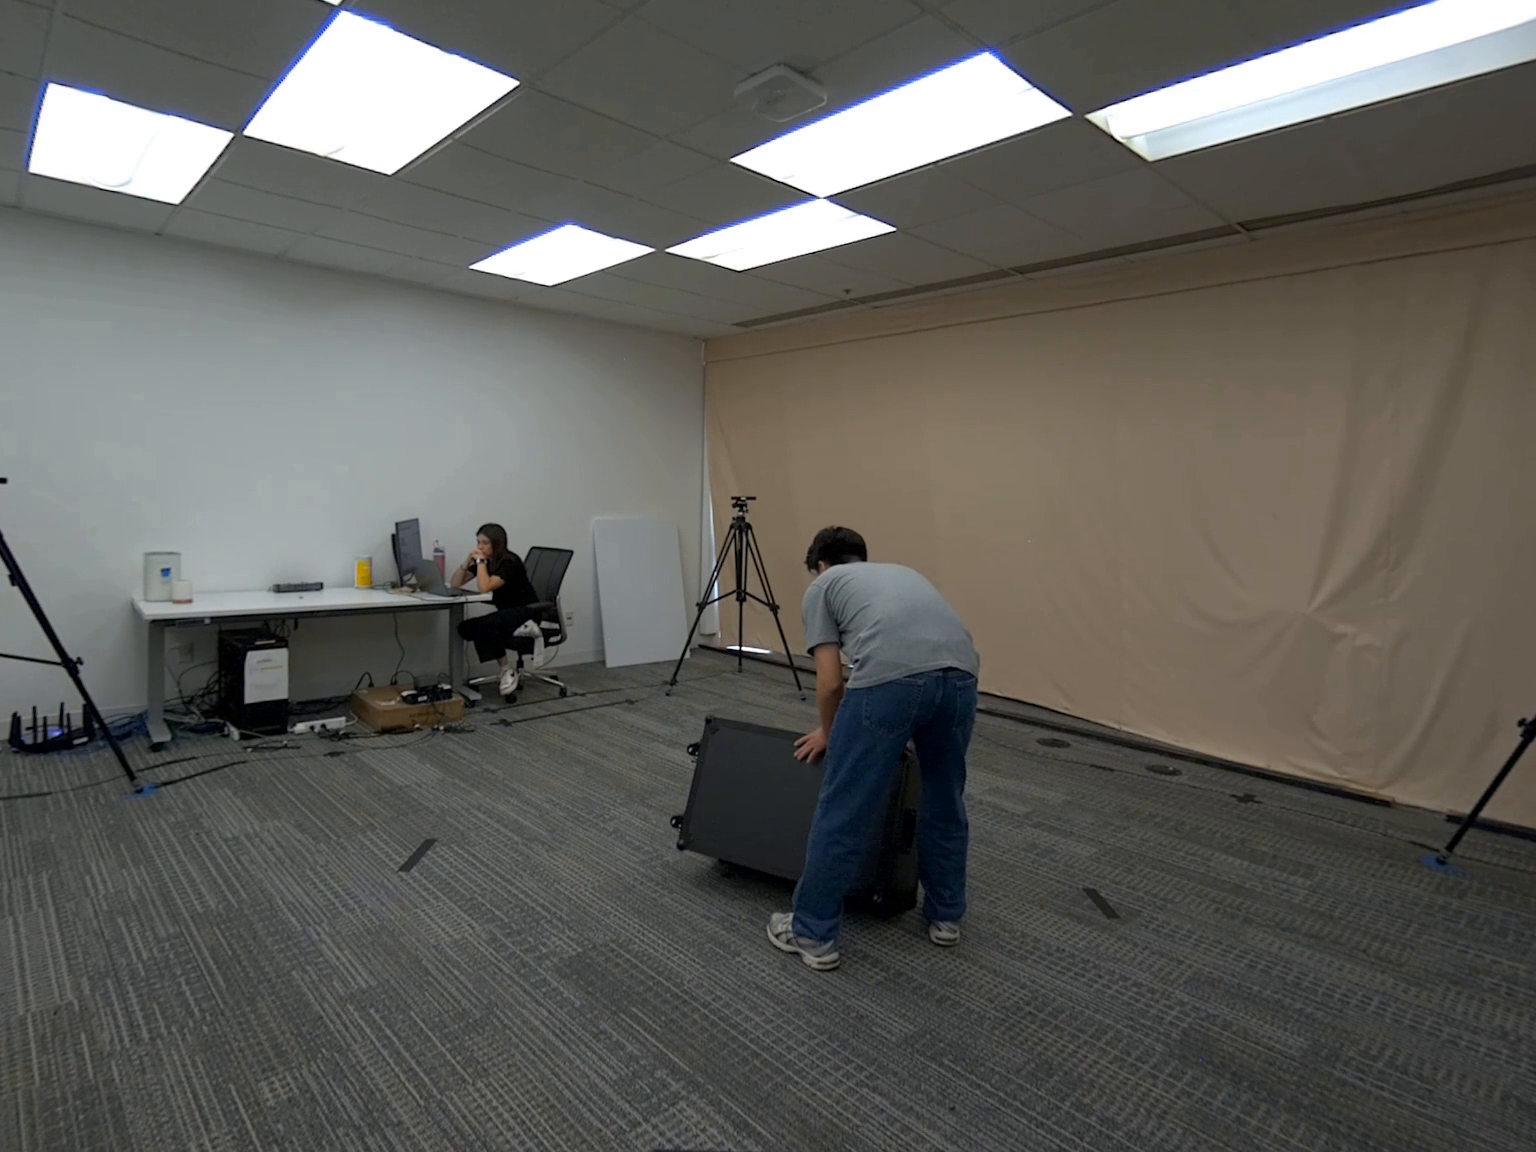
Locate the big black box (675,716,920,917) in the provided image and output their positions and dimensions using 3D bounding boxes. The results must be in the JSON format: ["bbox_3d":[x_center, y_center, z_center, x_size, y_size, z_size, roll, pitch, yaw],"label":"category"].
[{"bbox_3d":[0.106,0.830,3.054,0.881,0.525,0.384,5,-15,30],"label":"big black box"}]
